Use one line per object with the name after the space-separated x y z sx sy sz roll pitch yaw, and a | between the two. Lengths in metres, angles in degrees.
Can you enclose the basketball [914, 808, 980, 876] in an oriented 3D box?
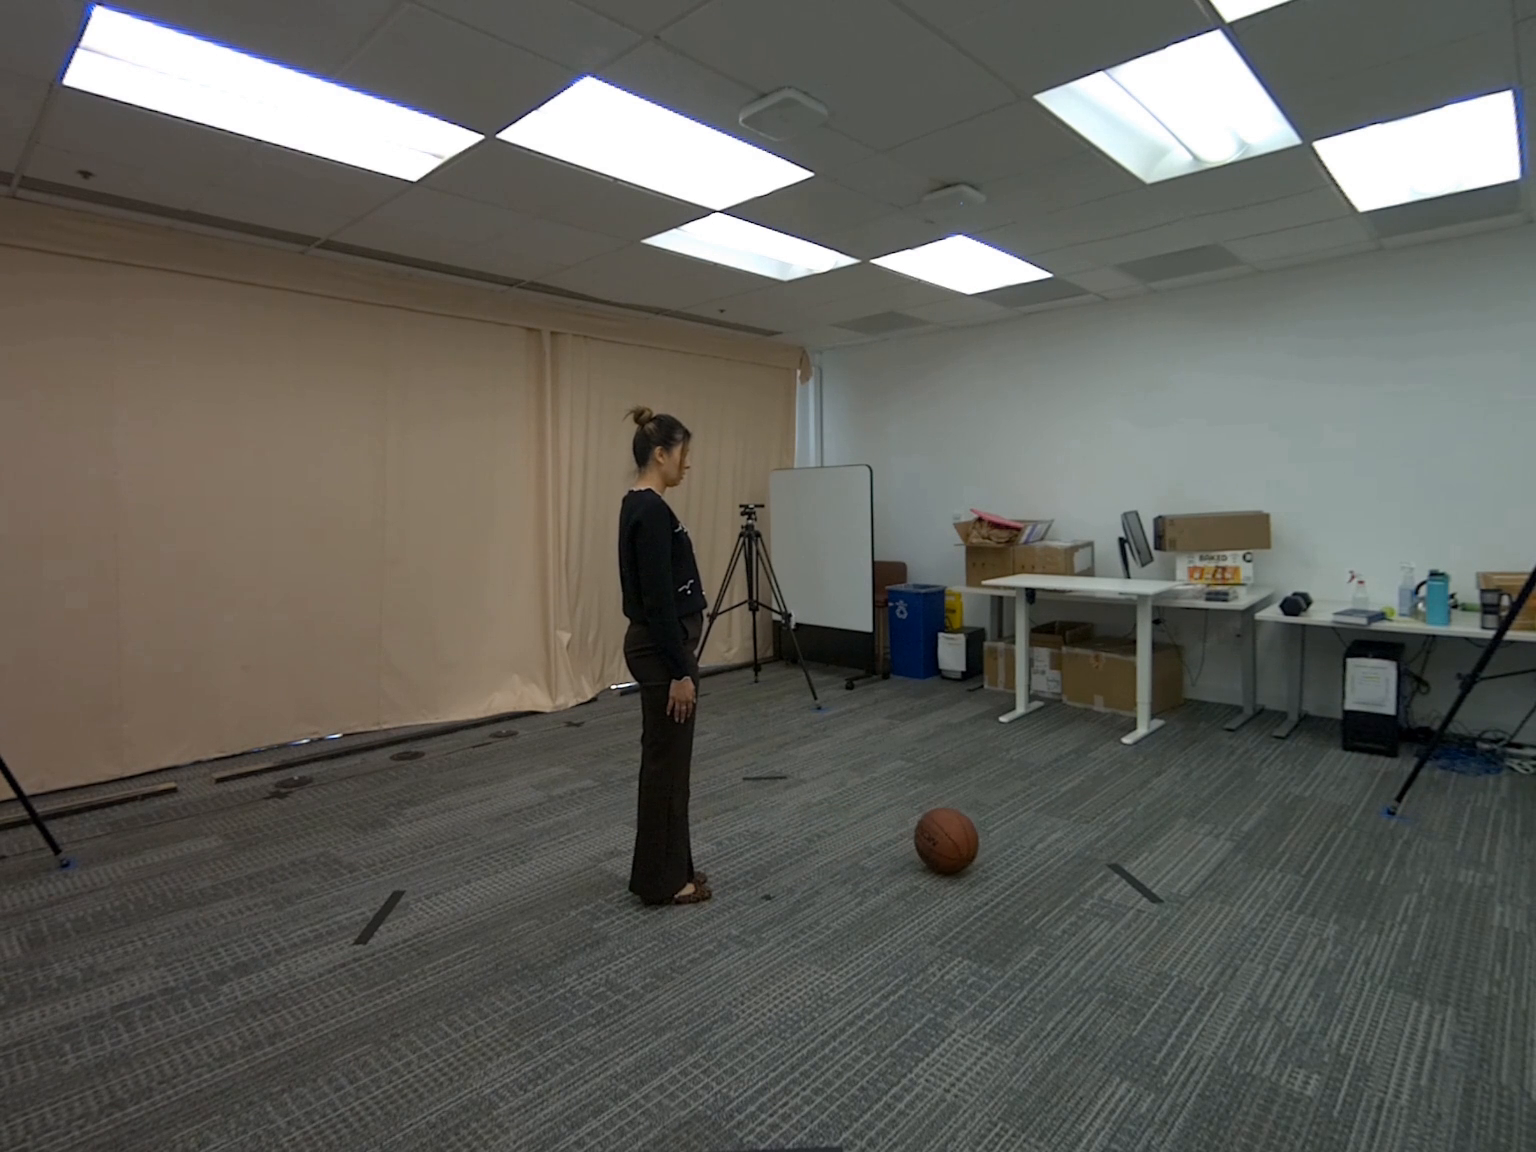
0.677 0.993 3.164 0.236 0.235 0.237 -1 4 -2 | basketball
